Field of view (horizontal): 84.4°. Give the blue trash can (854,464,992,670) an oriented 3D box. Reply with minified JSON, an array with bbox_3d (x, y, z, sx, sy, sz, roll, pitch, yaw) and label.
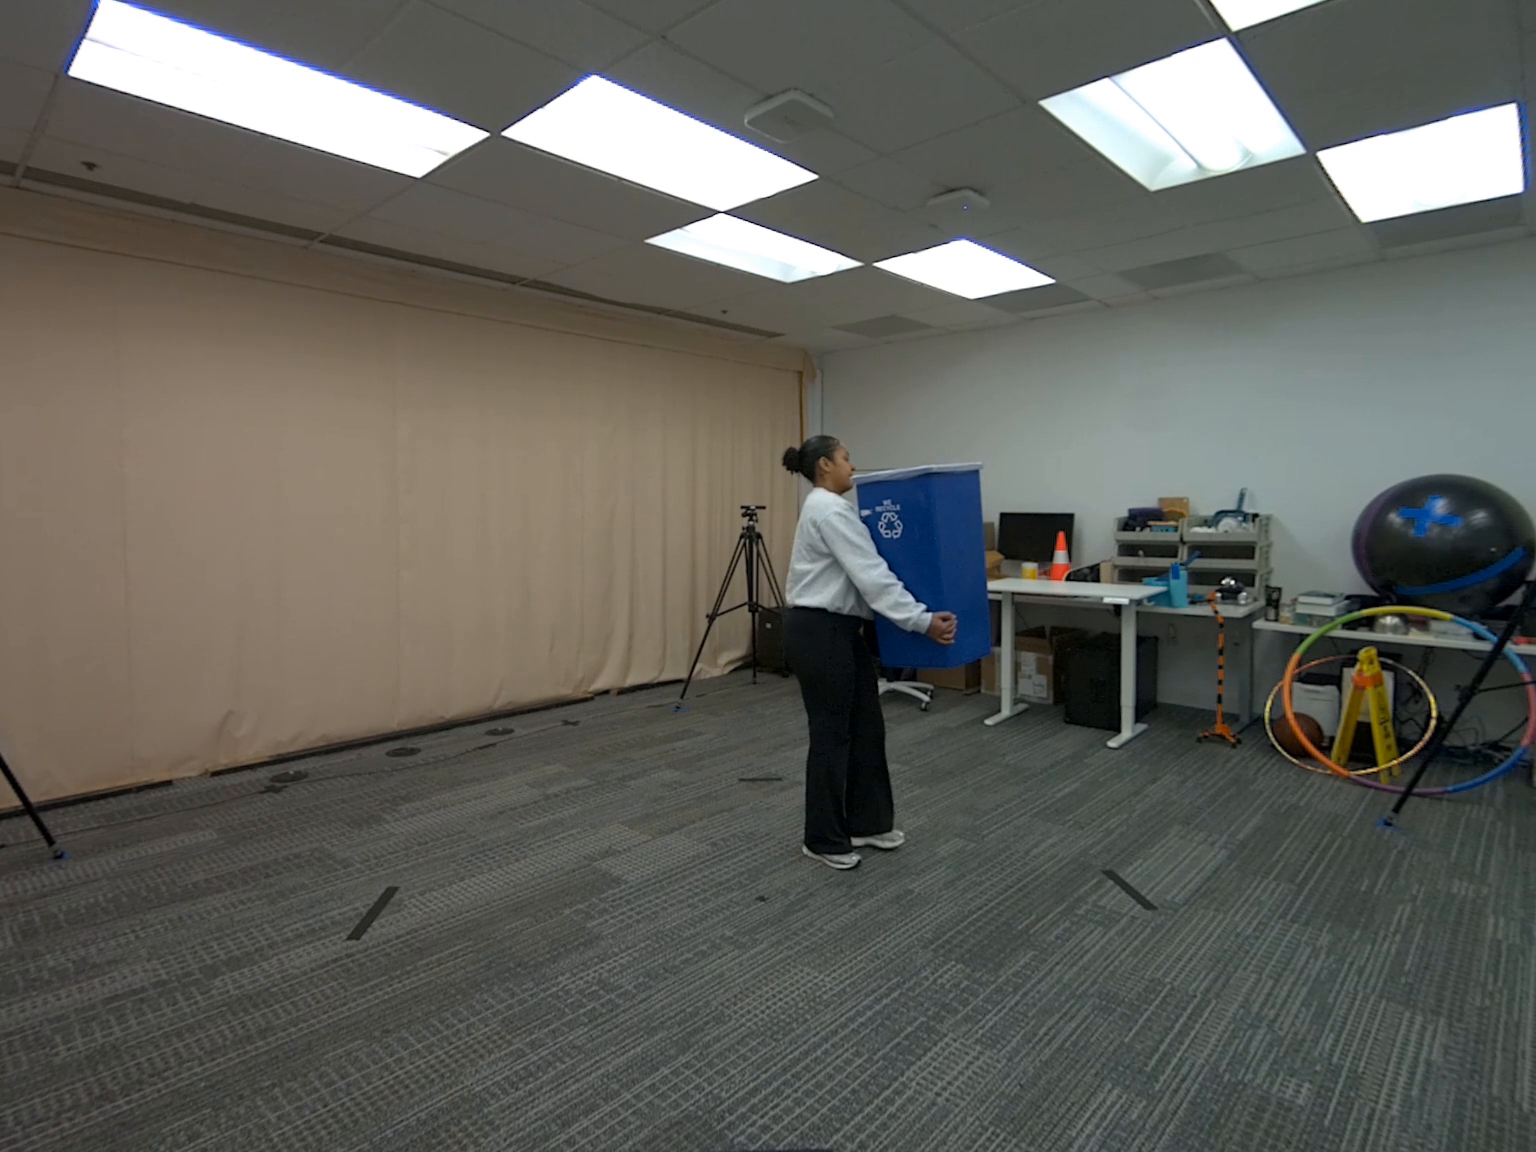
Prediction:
[{"bbox_3d":[0.600,-0.042,3.133,0.389,0.713,0.363,-6,2,44],"label":"blue trash can"}]
